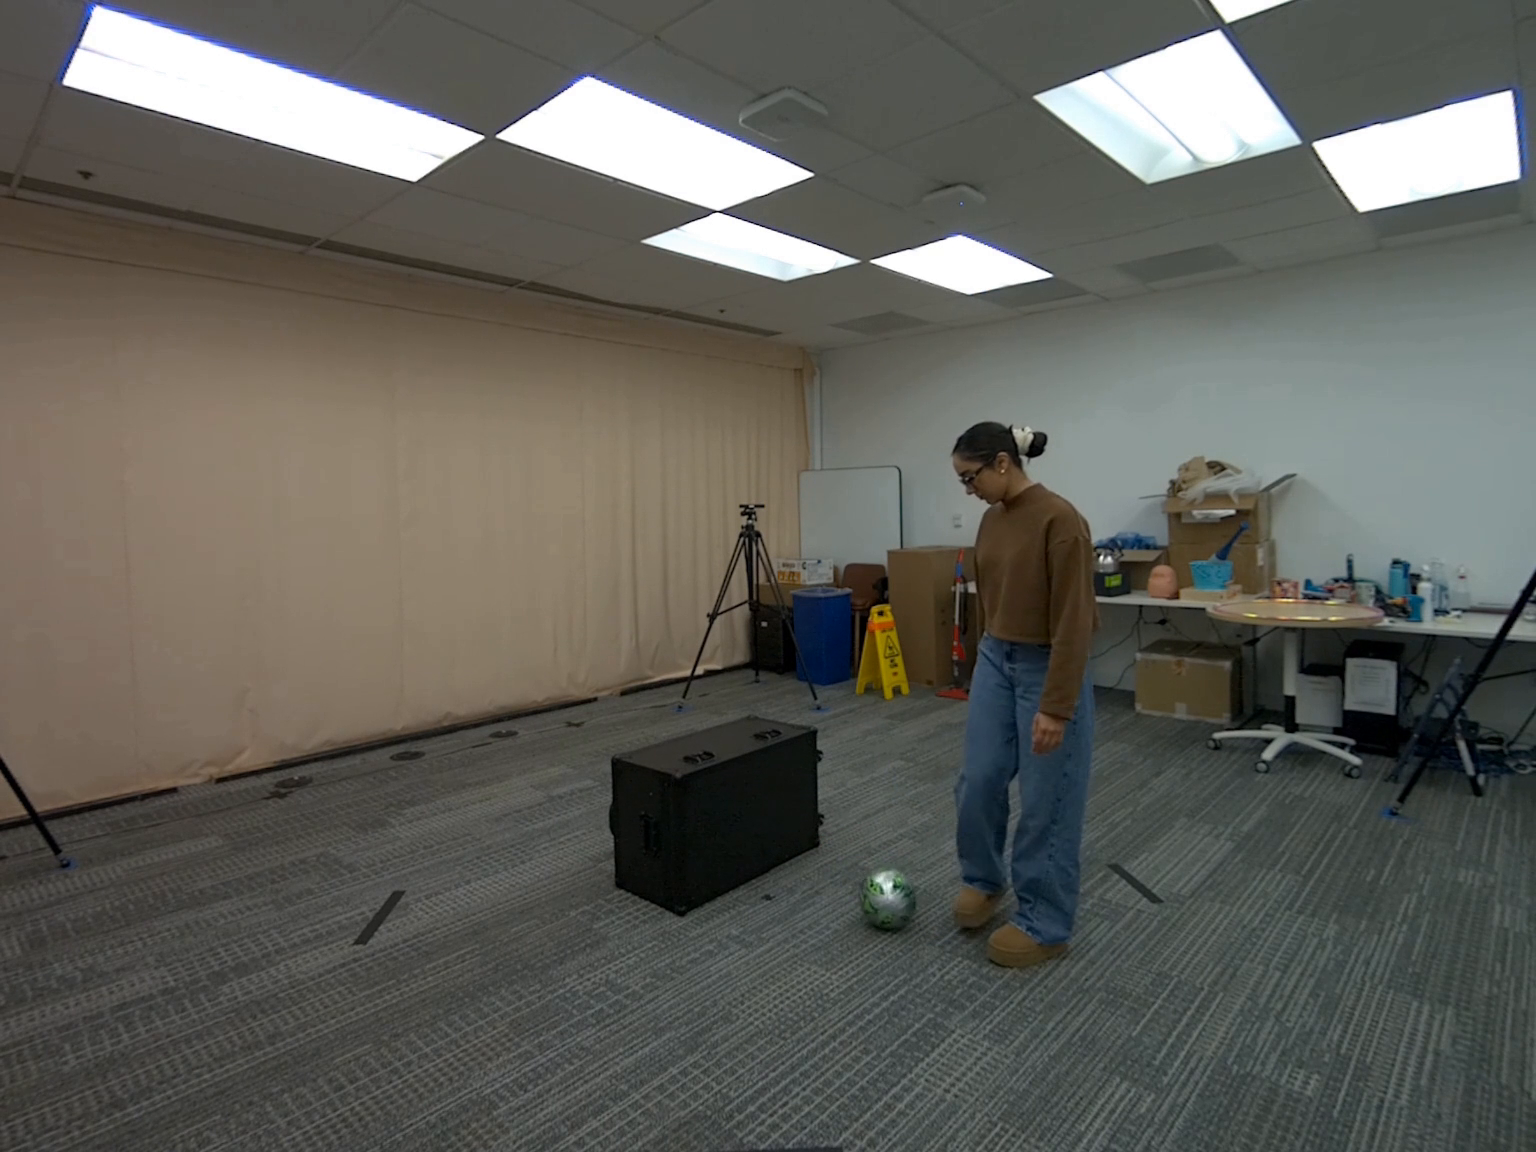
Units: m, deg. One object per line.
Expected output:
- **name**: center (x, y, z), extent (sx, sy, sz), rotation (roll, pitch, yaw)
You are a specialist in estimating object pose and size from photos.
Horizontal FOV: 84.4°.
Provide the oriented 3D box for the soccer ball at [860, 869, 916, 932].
- **soccer ball**: center (0.402, 1.061, 2.768), extent (0.187, 0.187, 0.188), rotation (-1, 4, -2)
